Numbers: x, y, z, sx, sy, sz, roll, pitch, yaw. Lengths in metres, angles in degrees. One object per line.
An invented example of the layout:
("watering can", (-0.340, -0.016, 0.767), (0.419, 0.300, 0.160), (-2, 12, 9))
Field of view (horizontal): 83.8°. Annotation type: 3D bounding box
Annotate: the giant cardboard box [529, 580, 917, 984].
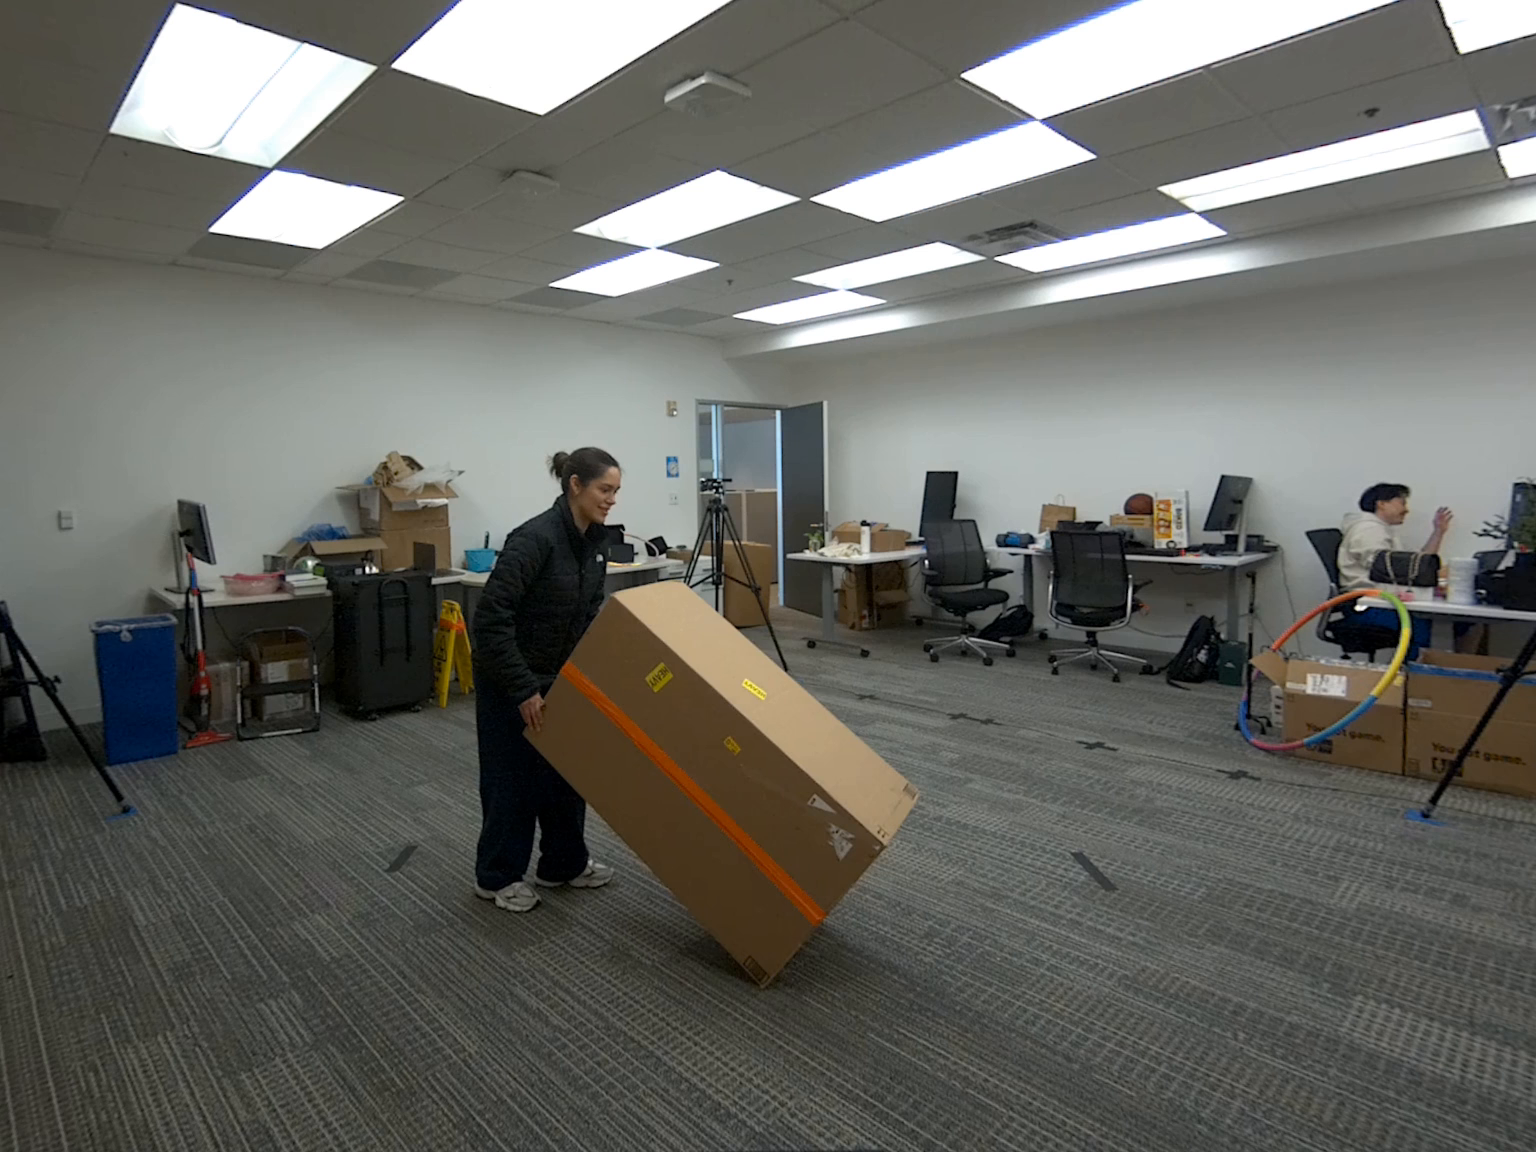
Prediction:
("giant cardboard box", (-0.151, 0.566, 2.605), (1.051, 0.581, 0.438), (39, 19, 17))
